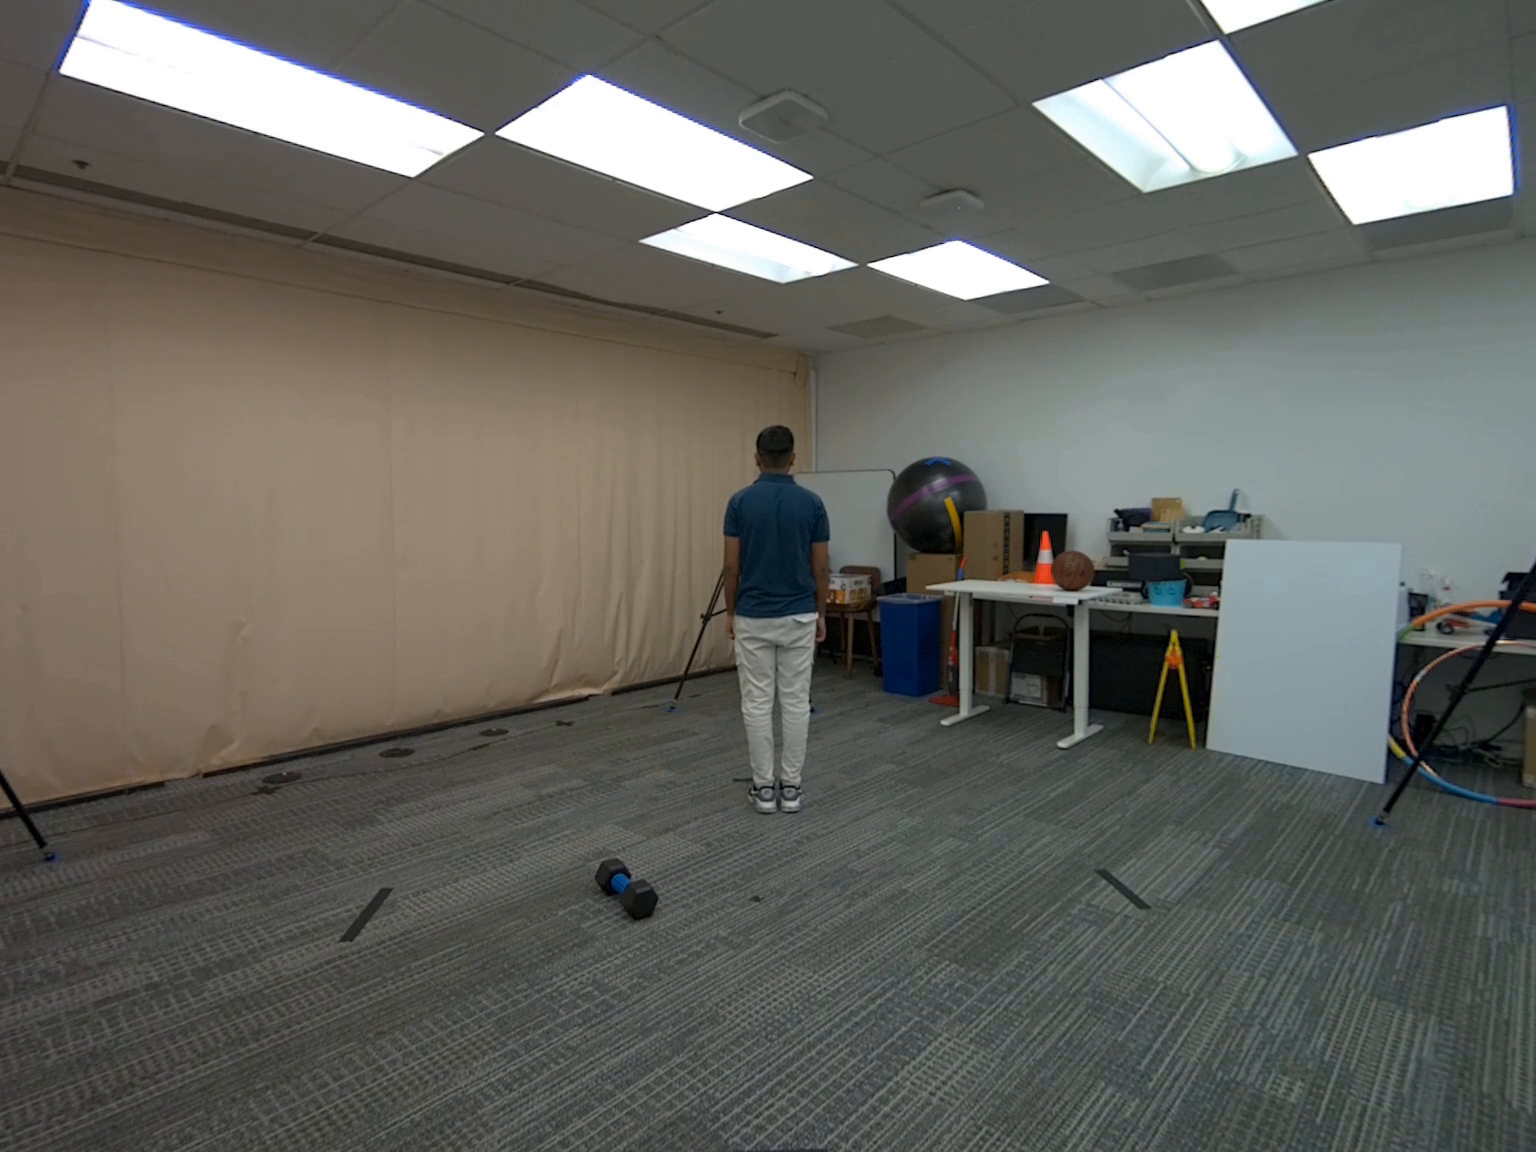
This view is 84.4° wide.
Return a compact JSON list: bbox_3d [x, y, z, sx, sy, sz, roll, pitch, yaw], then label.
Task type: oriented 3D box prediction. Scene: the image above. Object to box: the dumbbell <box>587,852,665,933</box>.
[{"bbox_3d":[-0.501,1.096,2.953,0.107,0.120,0.303,-38,24,-26],"label":"dumbbell"}]
